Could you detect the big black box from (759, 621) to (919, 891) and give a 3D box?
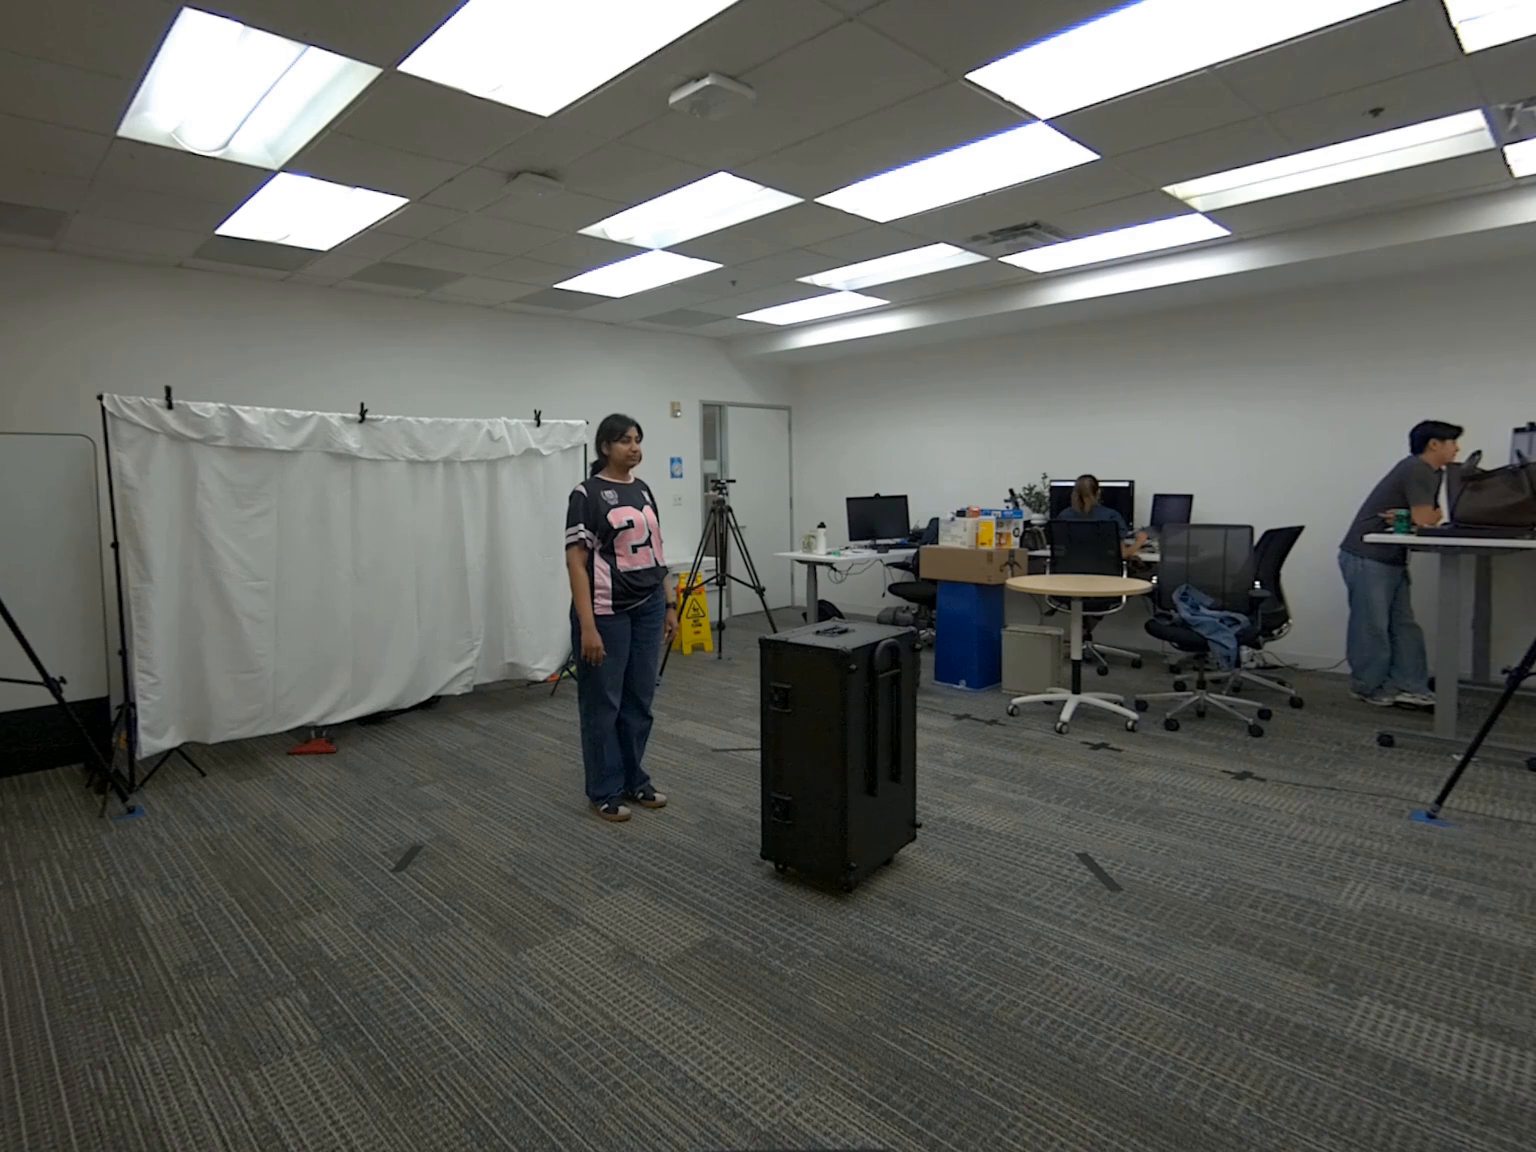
[{"bbox_3d":[0.268,0.626,3.042,0.397,0.865,0.510,3,6,38],"label":"big black box"}]
